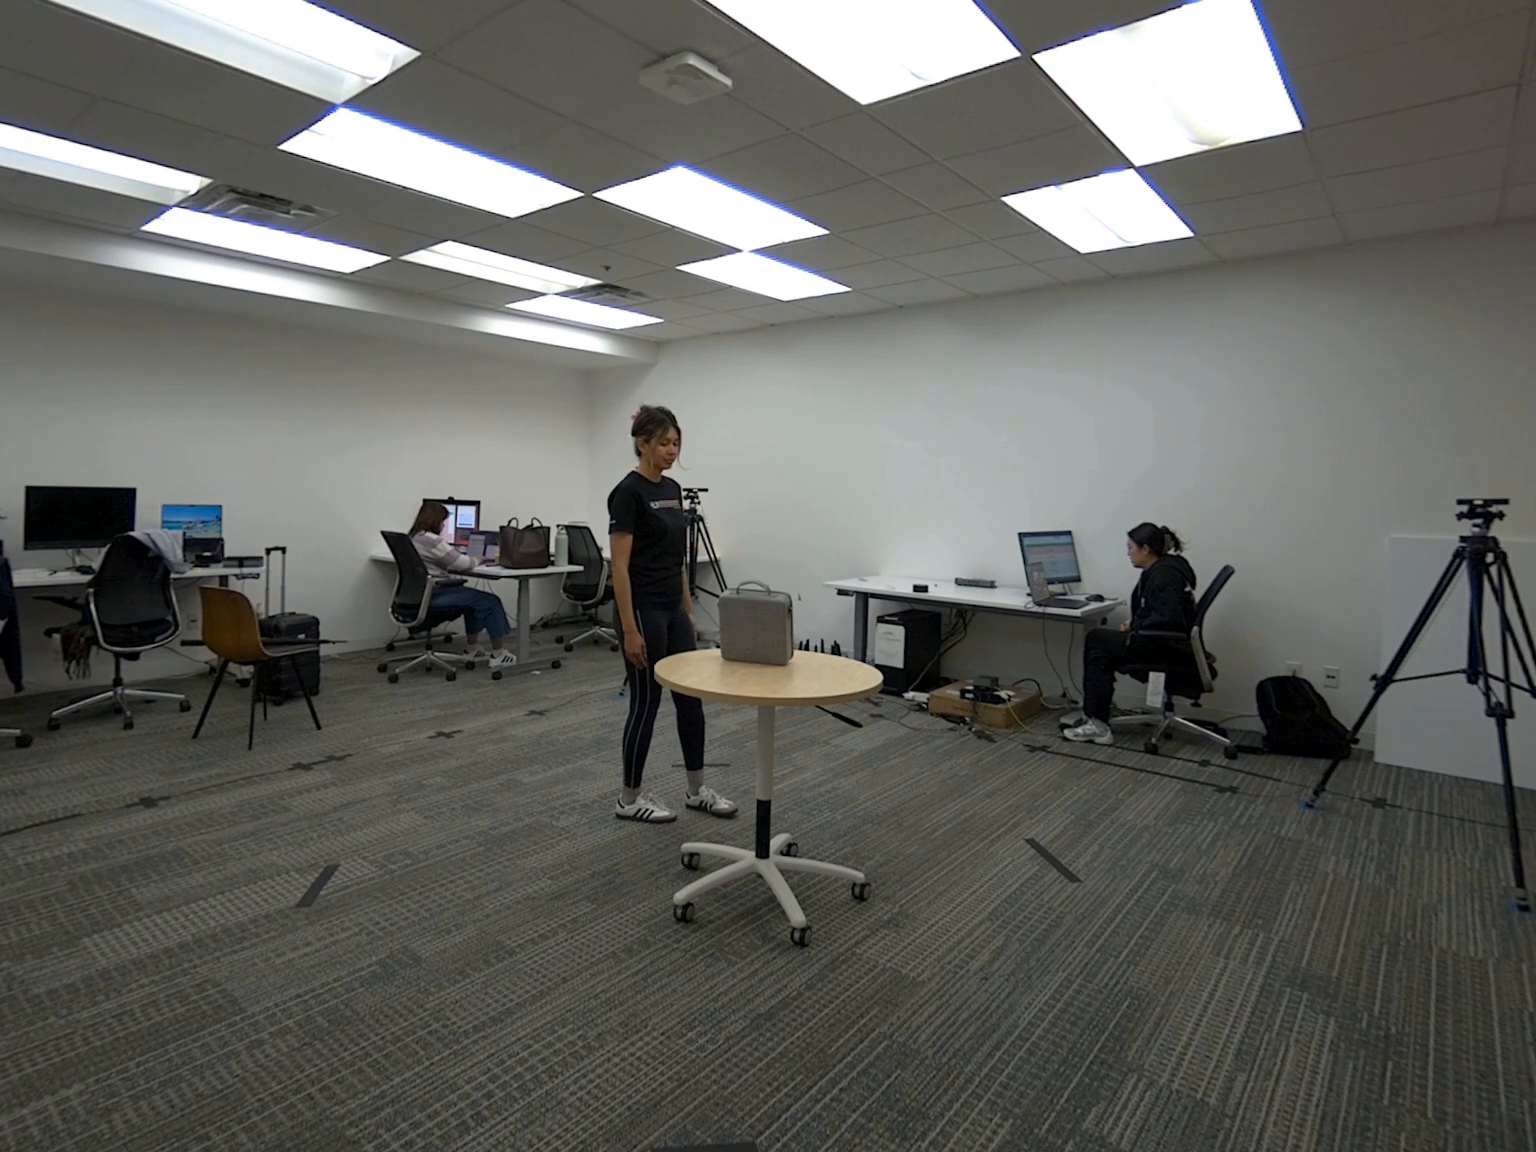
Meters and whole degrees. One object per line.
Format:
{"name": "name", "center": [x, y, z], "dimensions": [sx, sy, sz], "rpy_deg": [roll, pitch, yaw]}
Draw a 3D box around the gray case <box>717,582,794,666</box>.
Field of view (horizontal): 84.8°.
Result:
{"name": "gray case", "center": [-0.050, 0.168, 2.979], "dimensions": [0.262, 0.257, 0.103], "rpy_deg": [2, 15, 19]}
